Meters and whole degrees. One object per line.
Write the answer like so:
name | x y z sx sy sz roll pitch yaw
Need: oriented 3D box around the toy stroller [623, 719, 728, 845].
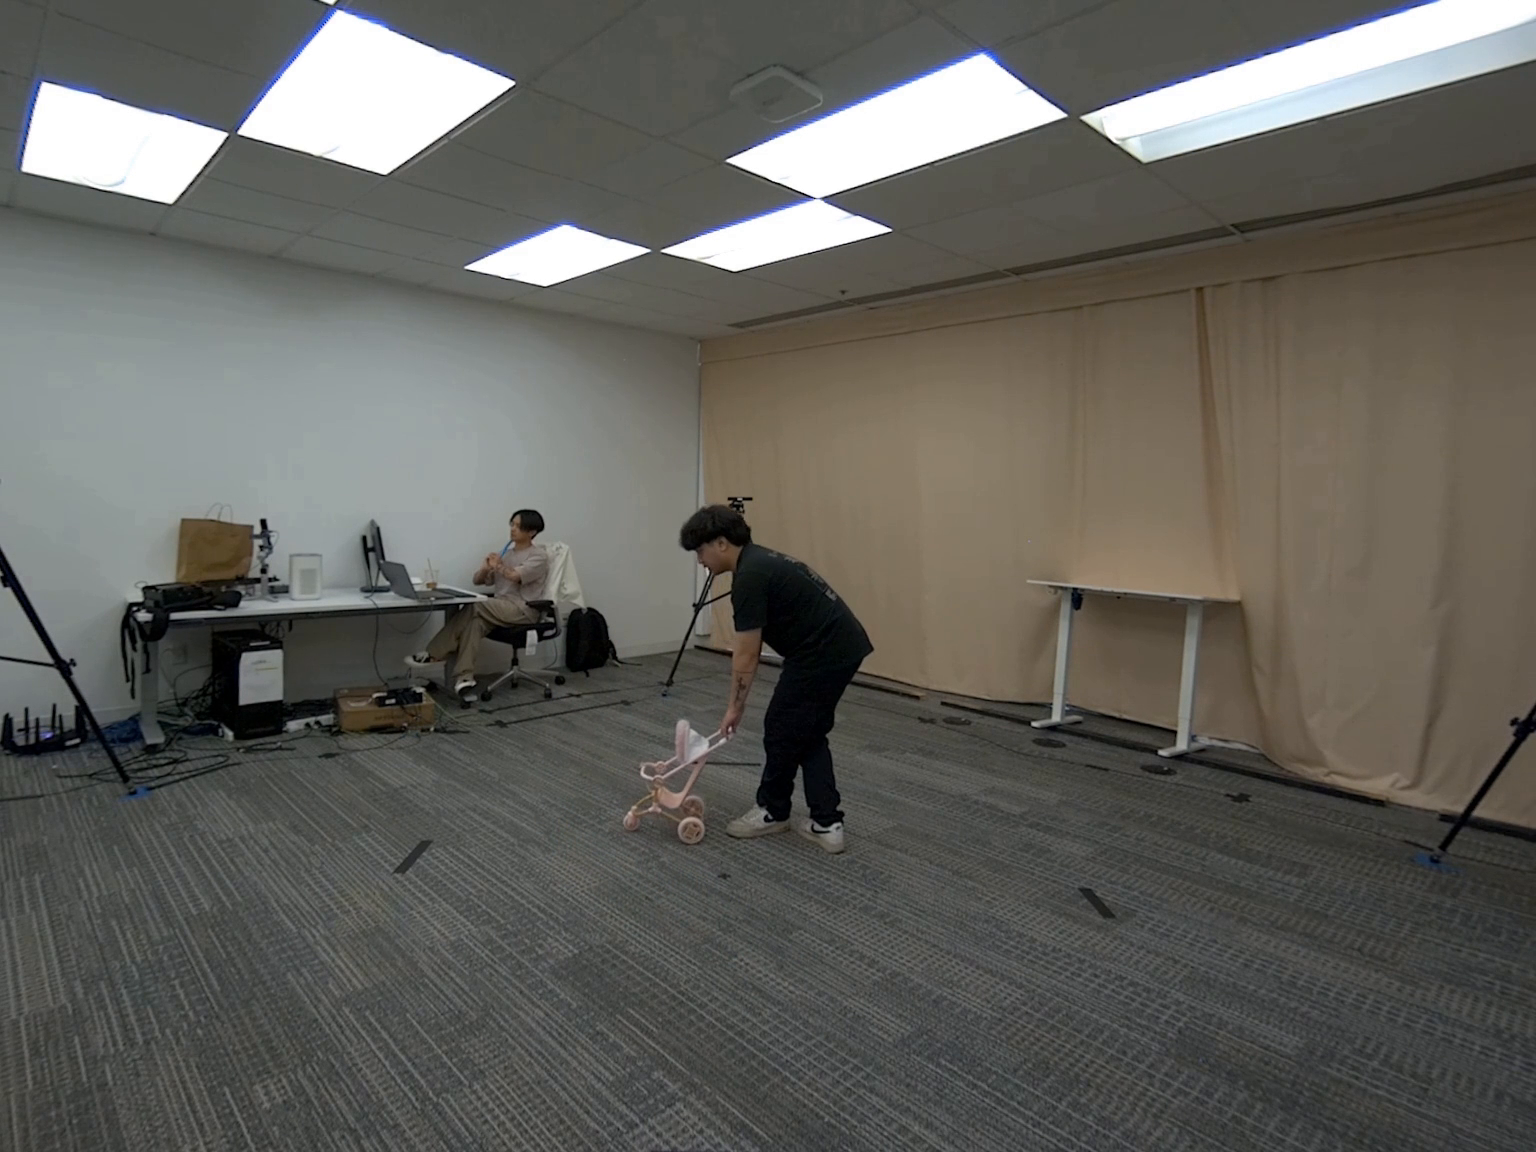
toy stroller | -0.384 0.843 3.504 0.342 0.534 0.281 16 3 2
